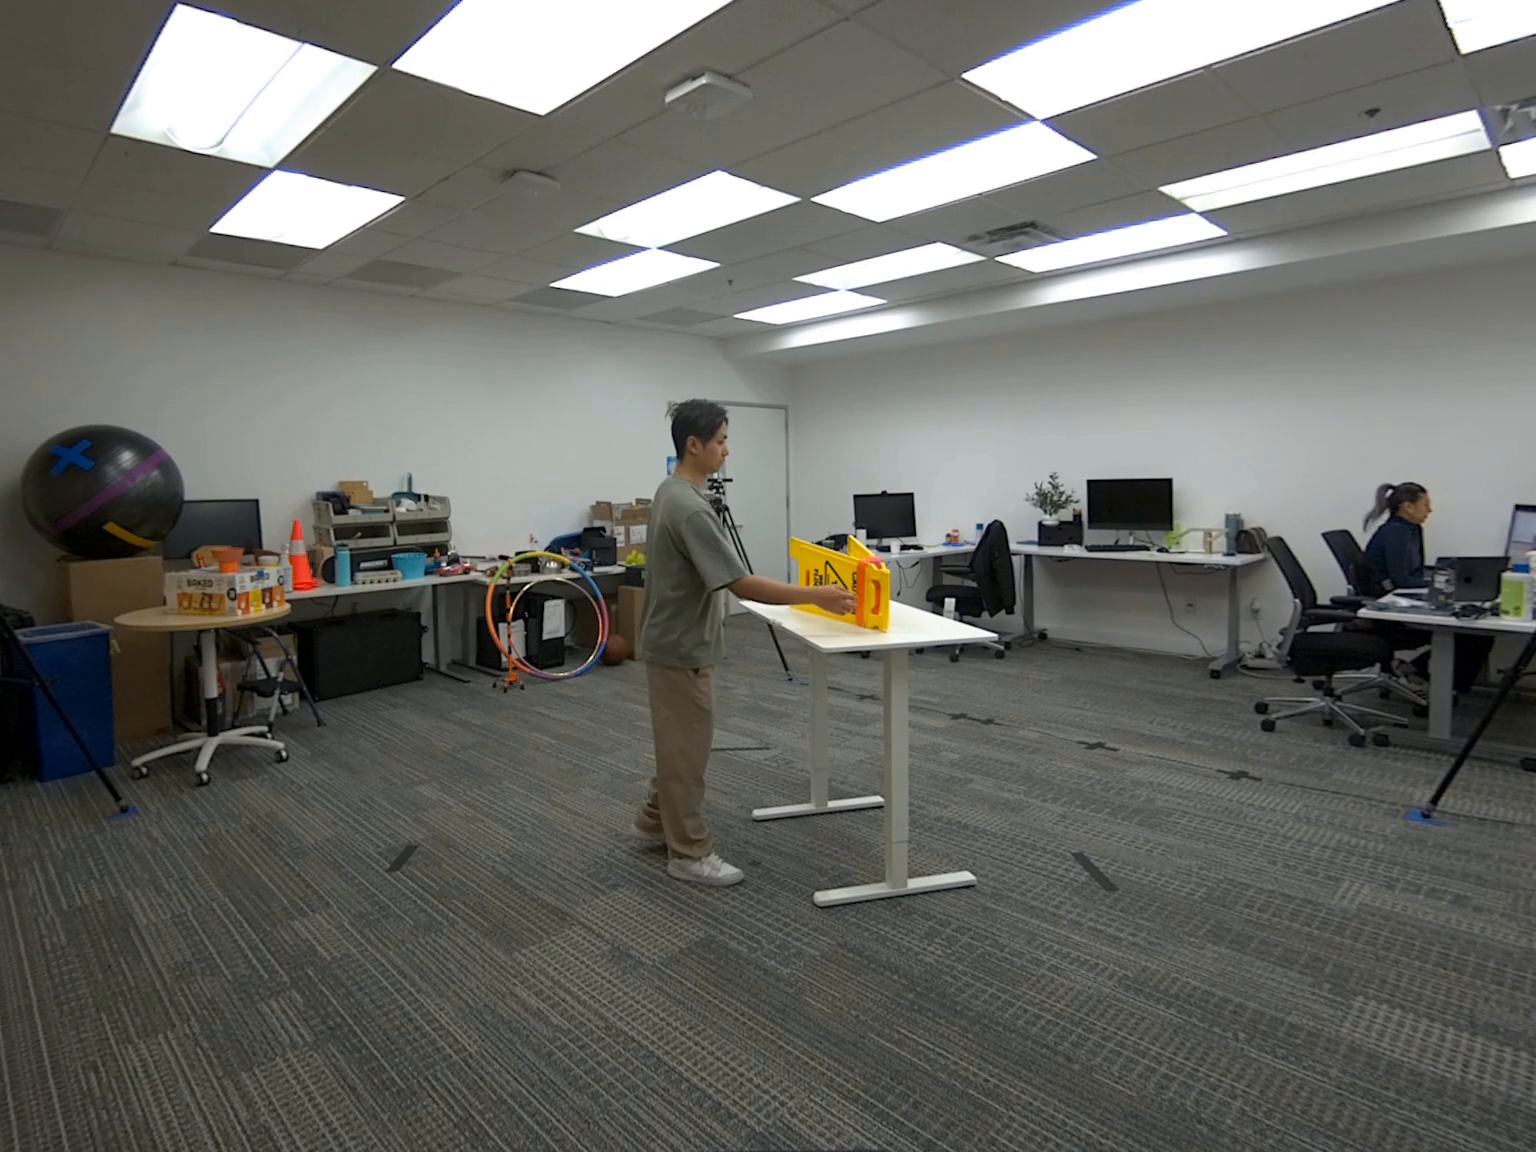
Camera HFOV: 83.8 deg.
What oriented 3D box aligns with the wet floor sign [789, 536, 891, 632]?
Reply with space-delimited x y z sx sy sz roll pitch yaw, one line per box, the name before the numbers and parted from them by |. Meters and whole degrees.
wet floor sign | 0.306 0.033 3.113 0.286 0.280 0.660 -2 9 -16
